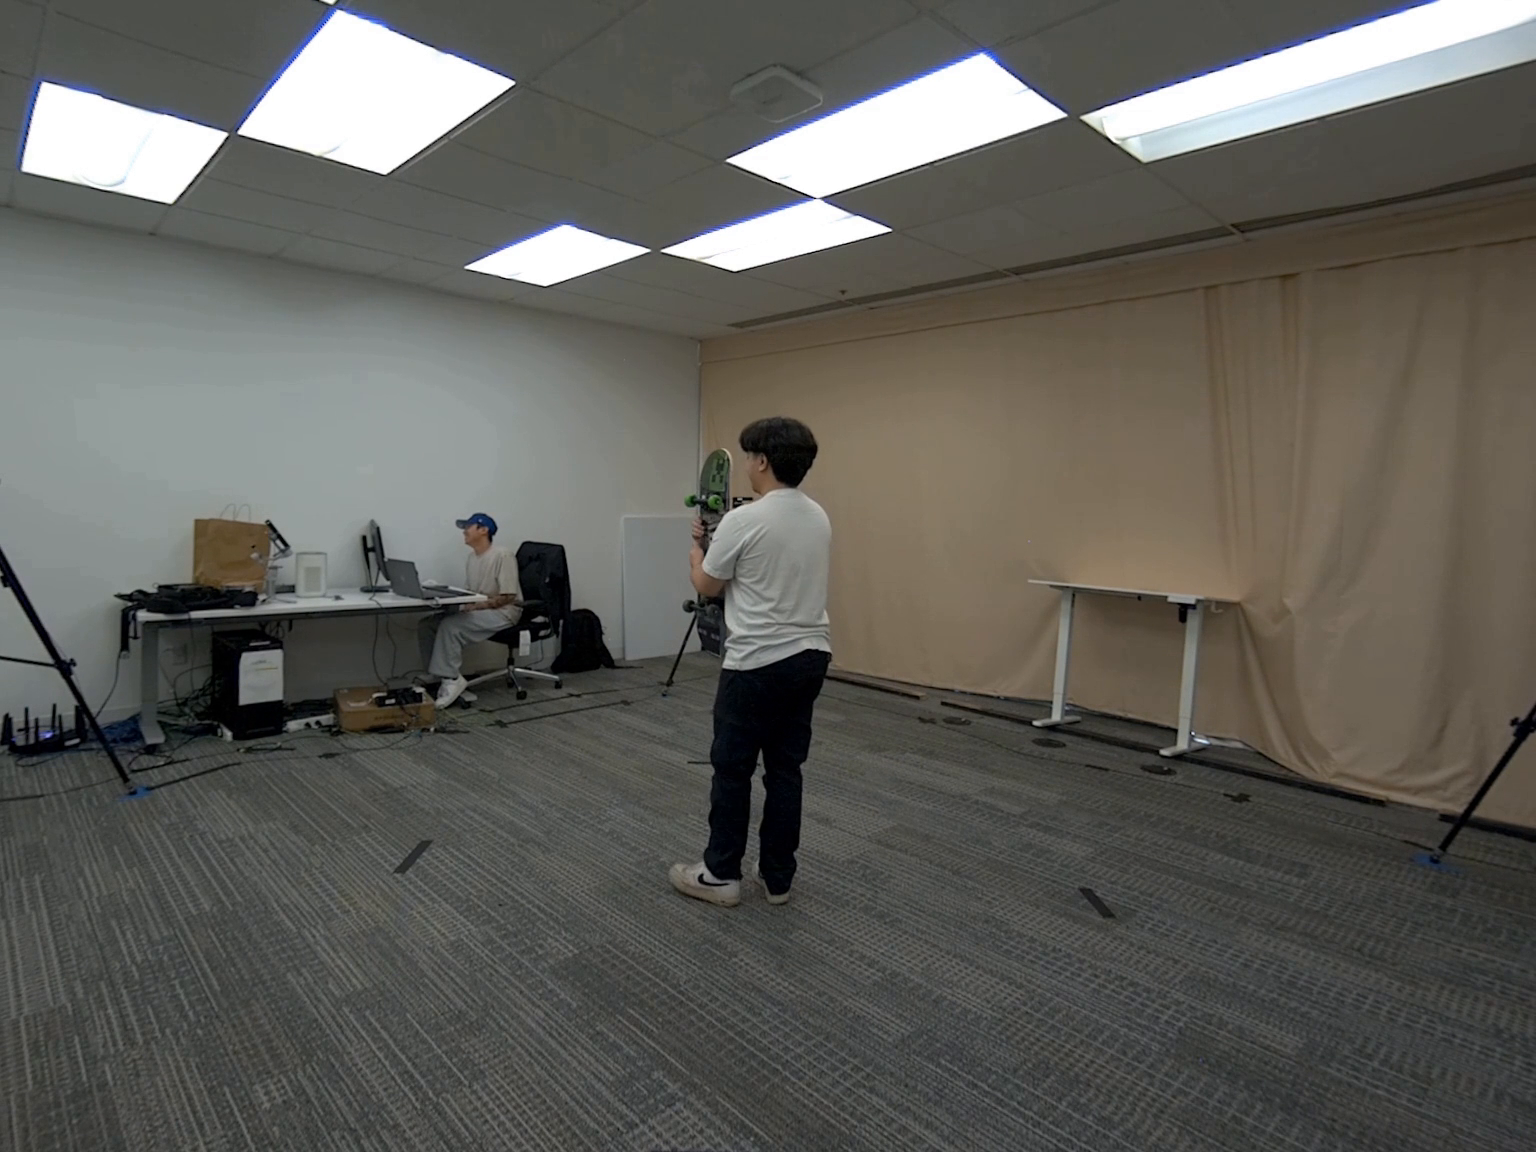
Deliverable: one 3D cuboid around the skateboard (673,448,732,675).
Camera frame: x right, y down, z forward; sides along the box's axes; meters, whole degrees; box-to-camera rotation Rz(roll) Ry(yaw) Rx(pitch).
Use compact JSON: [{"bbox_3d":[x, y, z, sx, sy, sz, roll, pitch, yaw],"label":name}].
[{"bbox_3d":[-0.227,-0.078,3.133,0.108,0.781,0.198,-5,9,-39],"label":"skateboard"}]
